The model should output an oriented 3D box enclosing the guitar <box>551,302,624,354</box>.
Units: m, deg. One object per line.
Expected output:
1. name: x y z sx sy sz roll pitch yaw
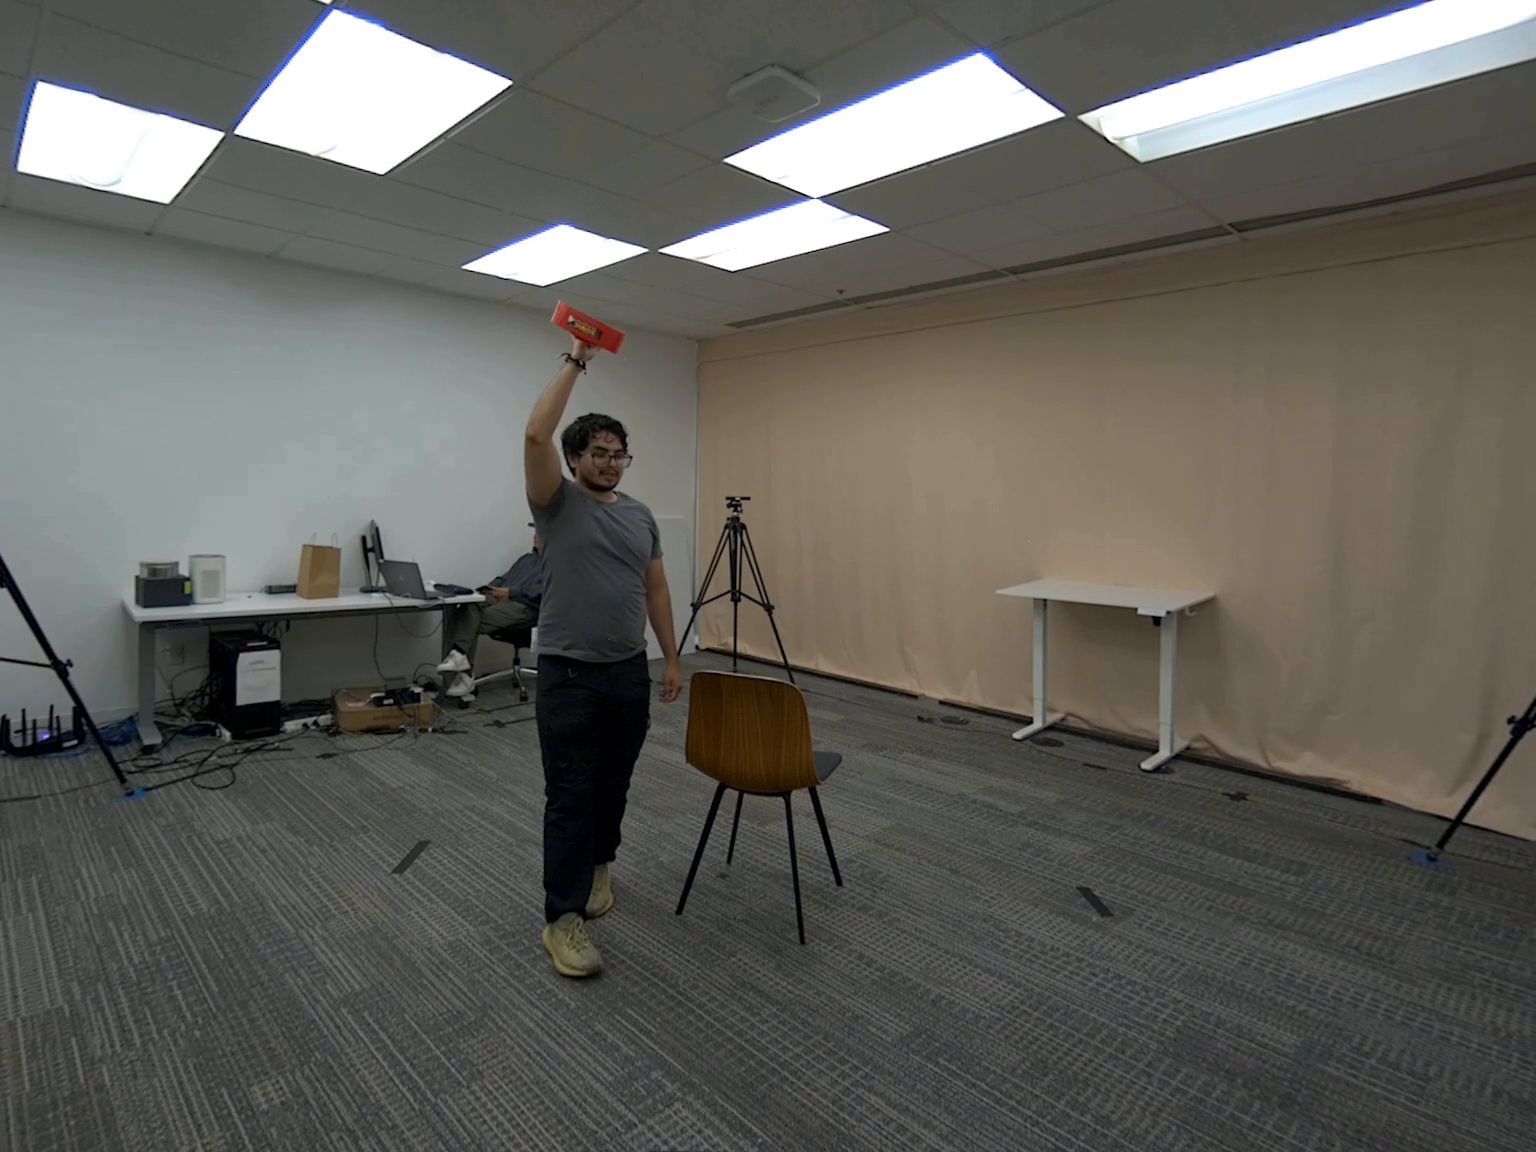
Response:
1. guitar: -0.538 -0.713 2.408 0.189 0.070 0.509 21 11 -20
